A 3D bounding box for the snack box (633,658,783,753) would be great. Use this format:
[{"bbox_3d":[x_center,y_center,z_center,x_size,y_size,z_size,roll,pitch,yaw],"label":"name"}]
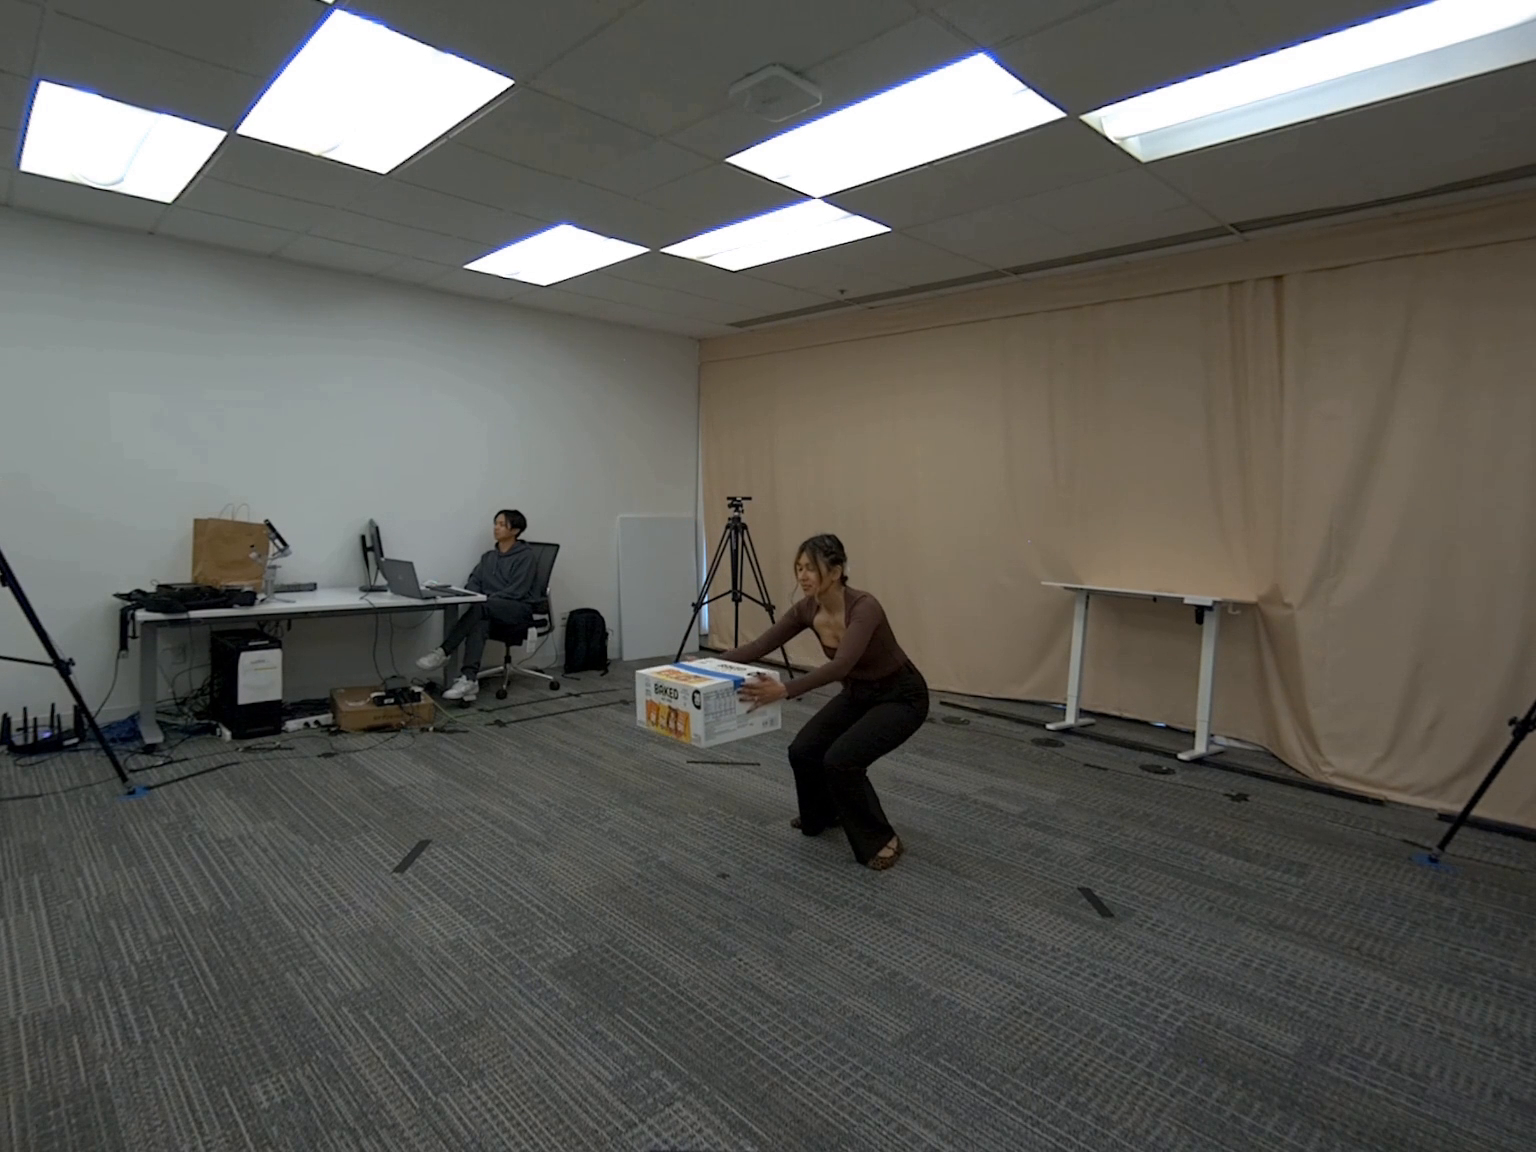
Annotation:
[{"bbox_3d":[-0.217,0.440,2.979,0.333,0.205,0.415,-6,6,-39],"label":"snack box"}]
